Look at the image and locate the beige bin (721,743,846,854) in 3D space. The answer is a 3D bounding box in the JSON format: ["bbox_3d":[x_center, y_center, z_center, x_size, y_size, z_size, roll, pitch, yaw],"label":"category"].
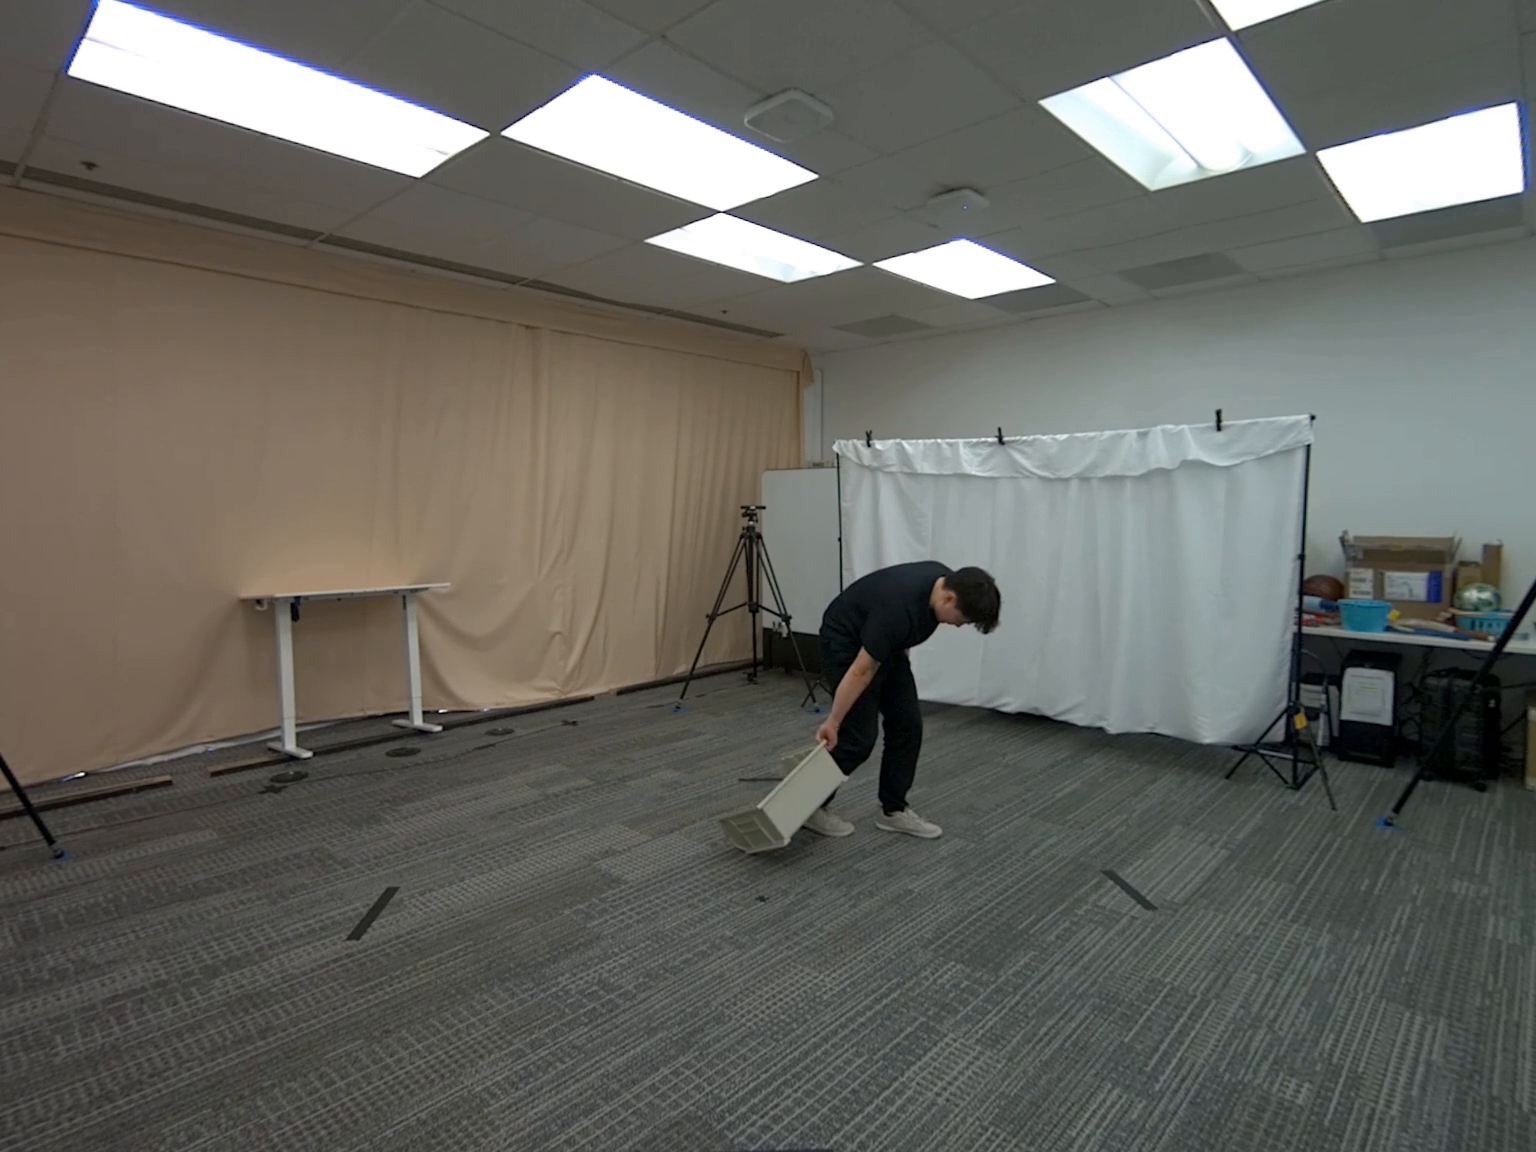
[{"bbox_3d":[0.059,0.894,3.379,0.416,0.189,0.383,-36,1,-37],"label":"beige bin"}]
